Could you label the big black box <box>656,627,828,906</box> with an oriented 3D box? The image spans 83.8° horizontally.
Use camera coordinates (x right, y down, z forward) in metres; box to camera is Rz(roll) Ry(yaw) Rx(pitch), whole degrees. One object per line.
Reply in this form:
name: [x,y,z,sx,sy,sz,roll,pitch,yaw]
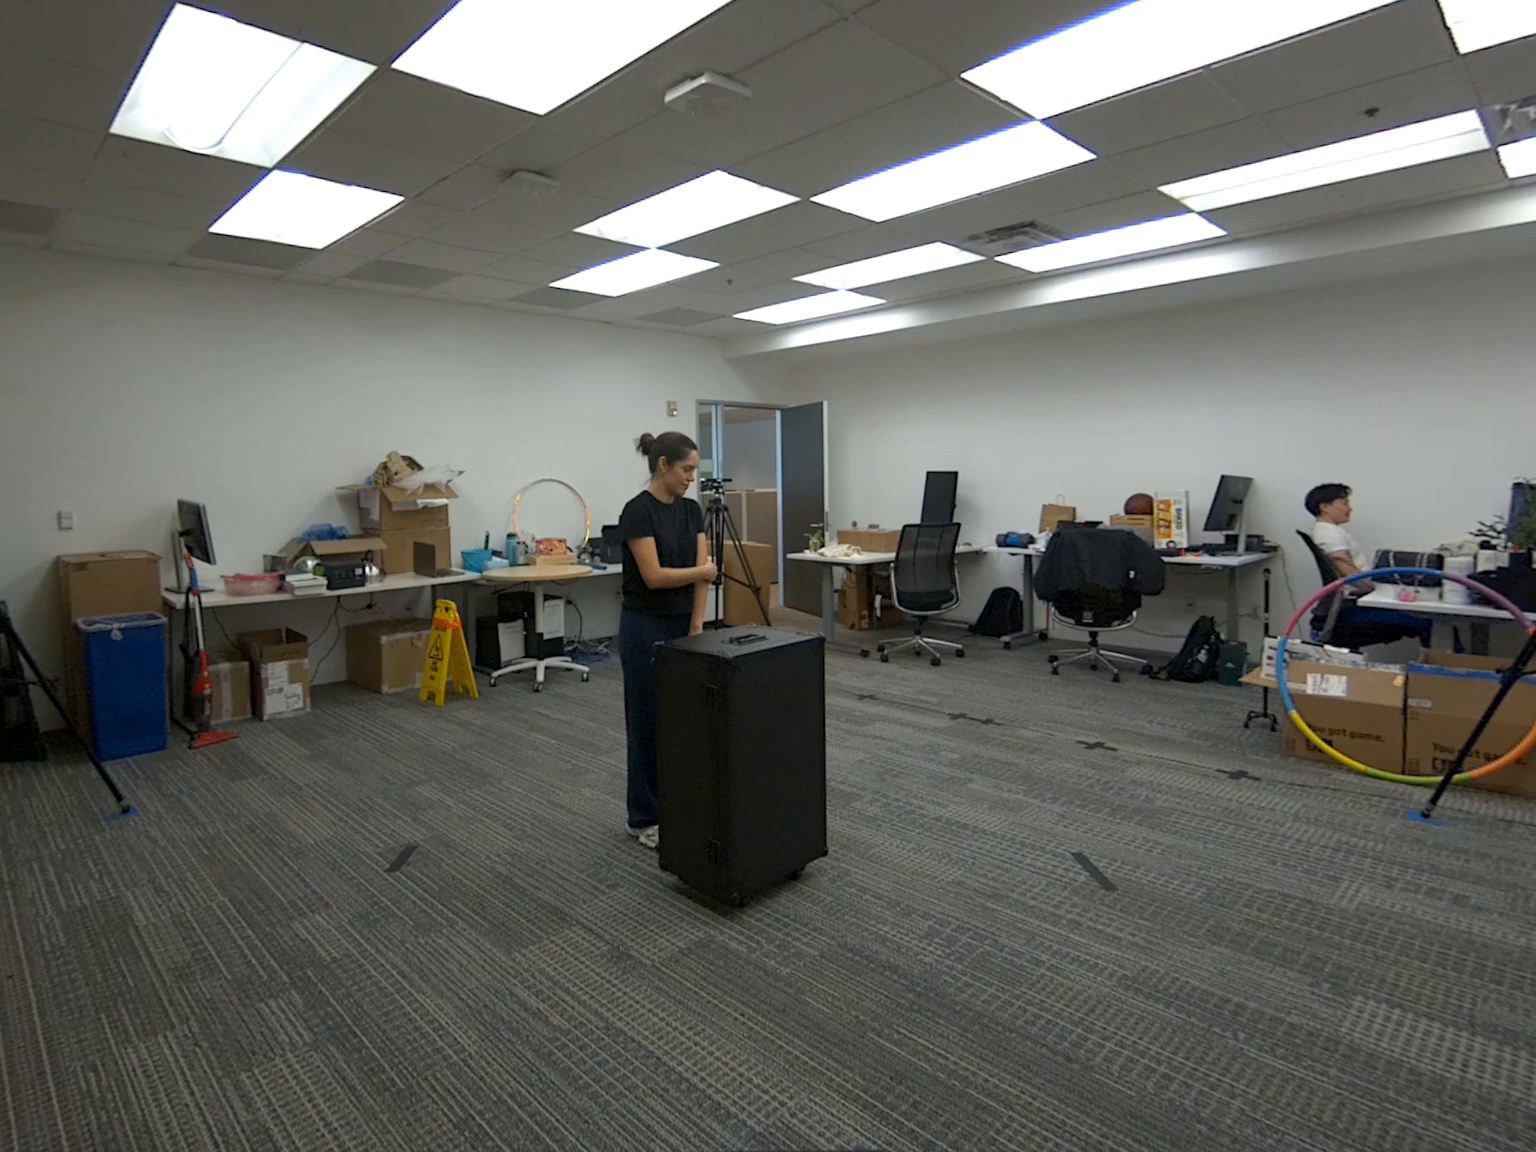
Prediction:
big black box: [-0.094,0.579,2.957,0.409,0.858,0.507,4,7,44]
